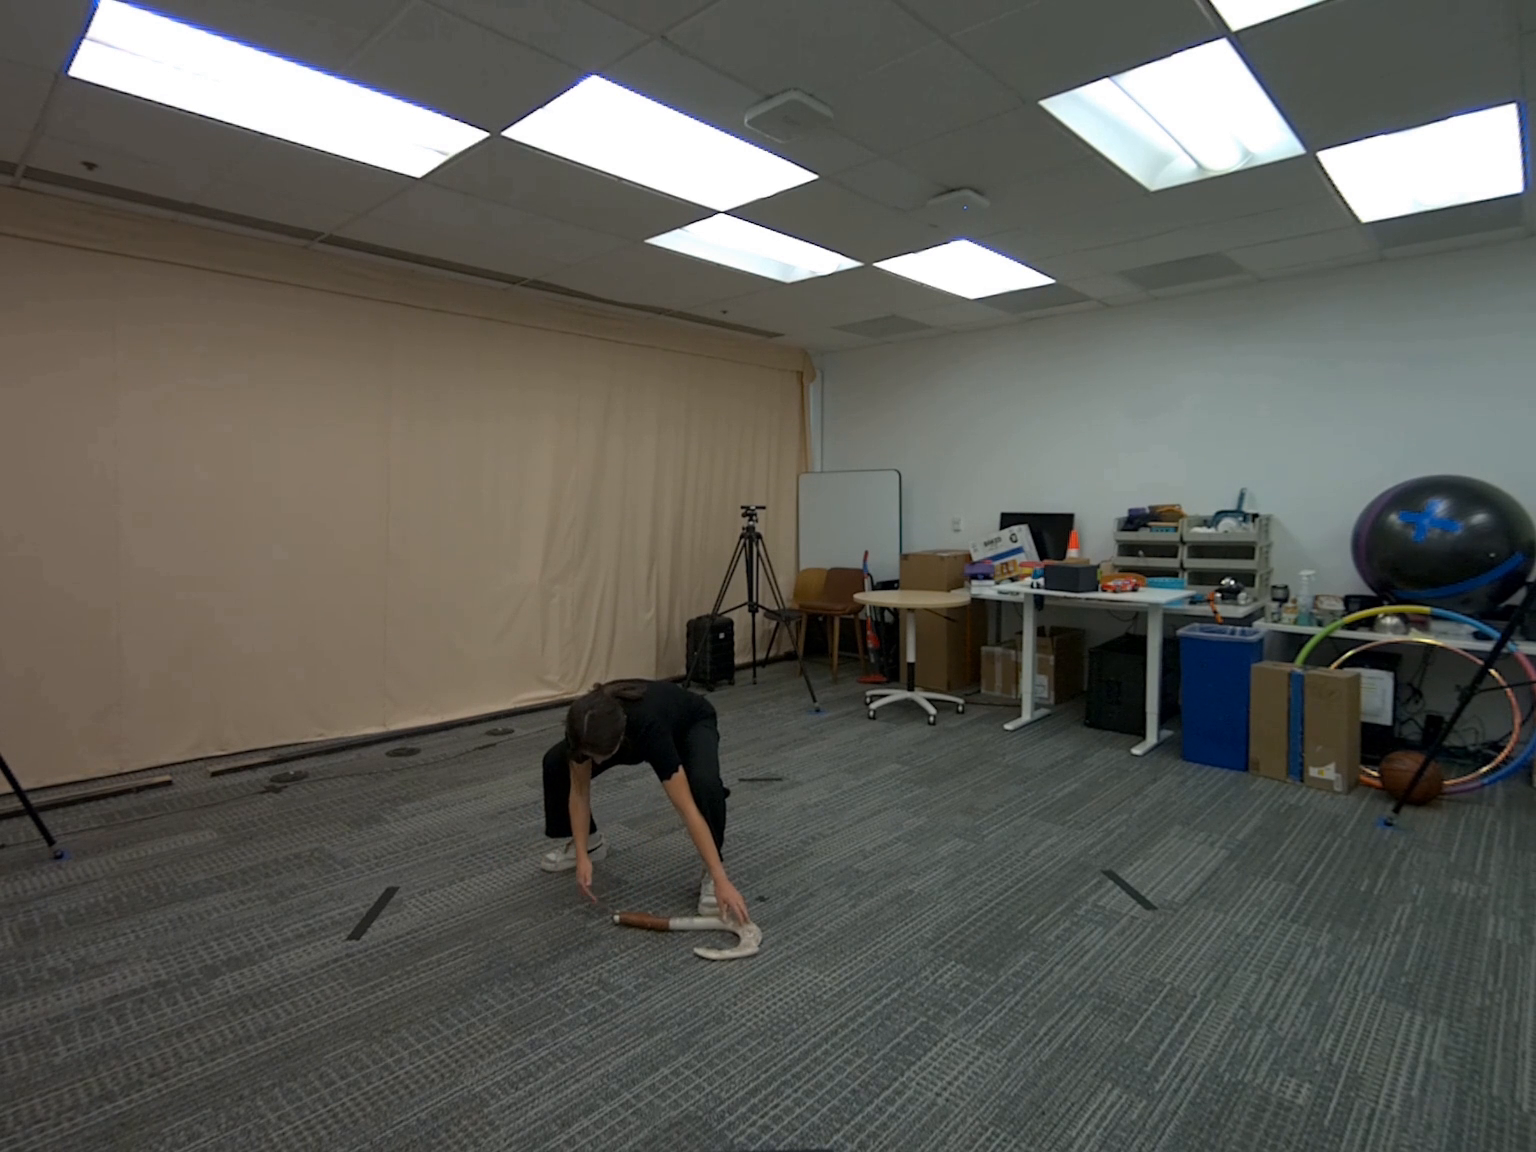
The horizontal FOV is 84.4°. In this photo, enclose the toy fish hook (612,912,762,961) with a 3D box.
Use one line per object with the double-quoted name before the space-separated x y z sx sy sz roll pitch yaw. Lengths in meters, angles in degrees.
"toy fish hook" -0.275 1.147 2.703 0.513 0.048 0.222 0 3 12
